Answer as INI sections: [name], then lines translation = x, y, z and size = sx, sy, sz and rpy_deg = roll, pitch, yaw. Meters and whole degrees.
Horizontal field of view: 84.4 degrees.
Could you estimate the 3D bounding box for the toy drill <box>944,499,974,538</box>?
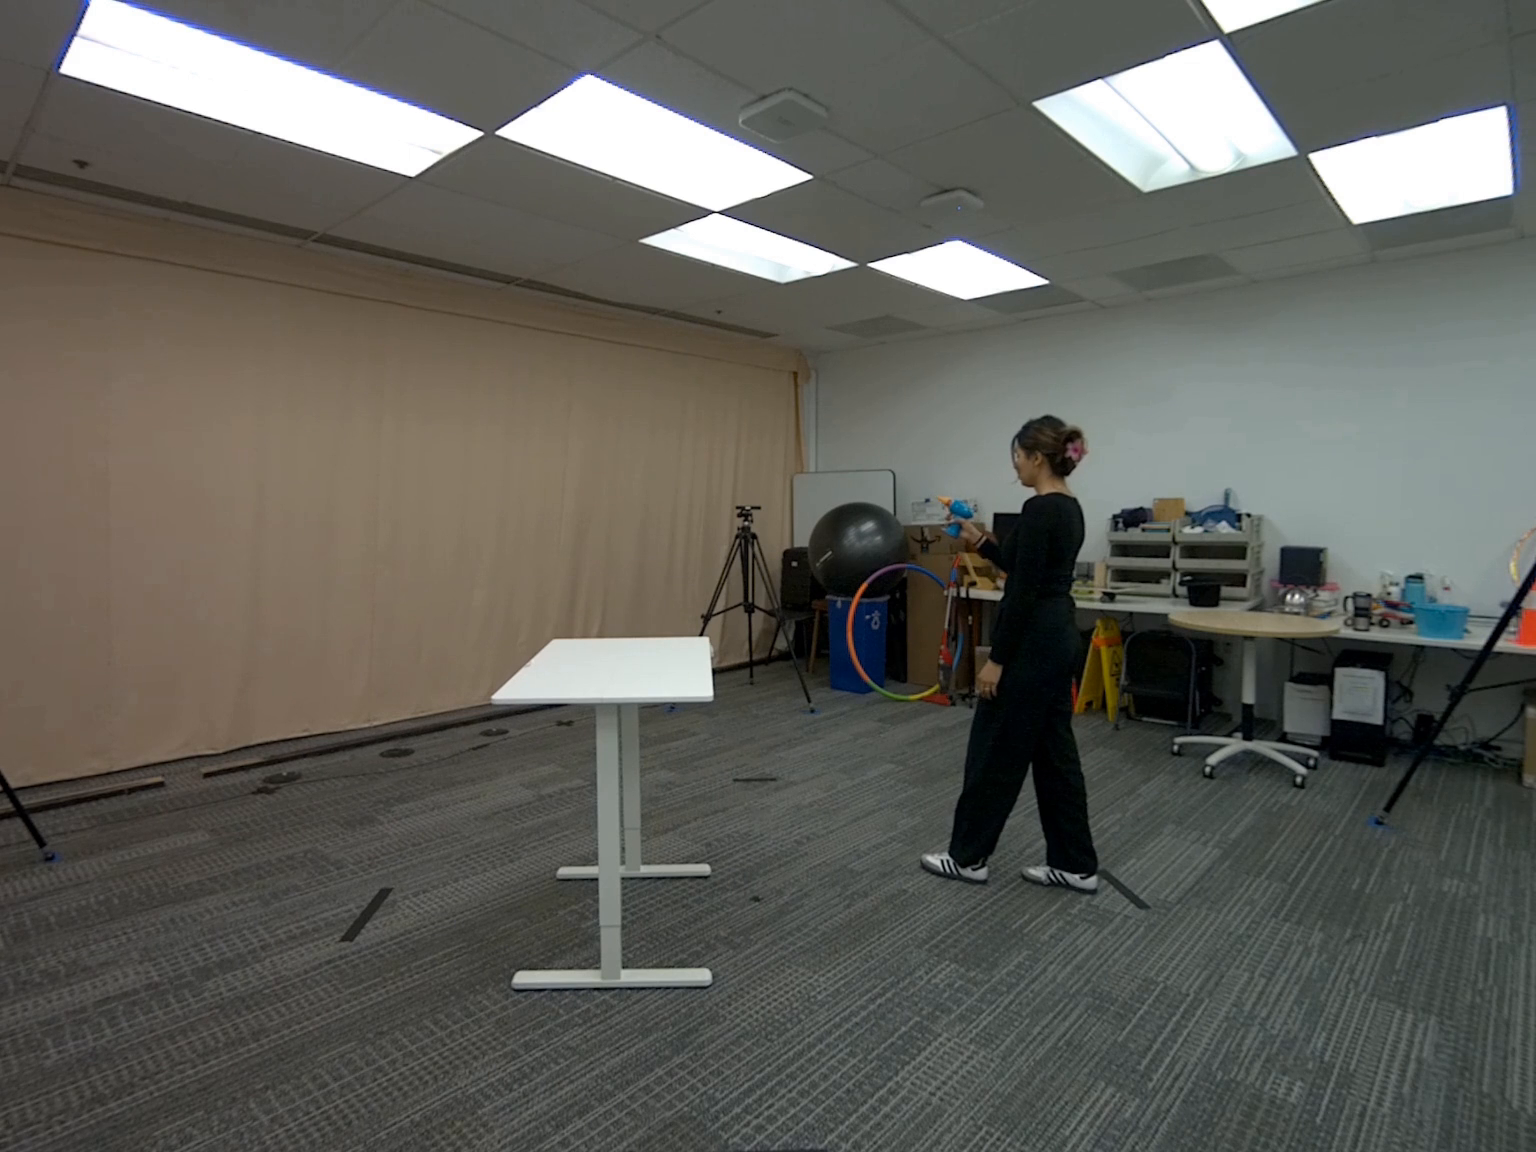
[toy drill]
translation = 0.749, -0.251, 3.435
size = 0.175, 0.146, 0.059
rpy_deg = 35, 11, 25
